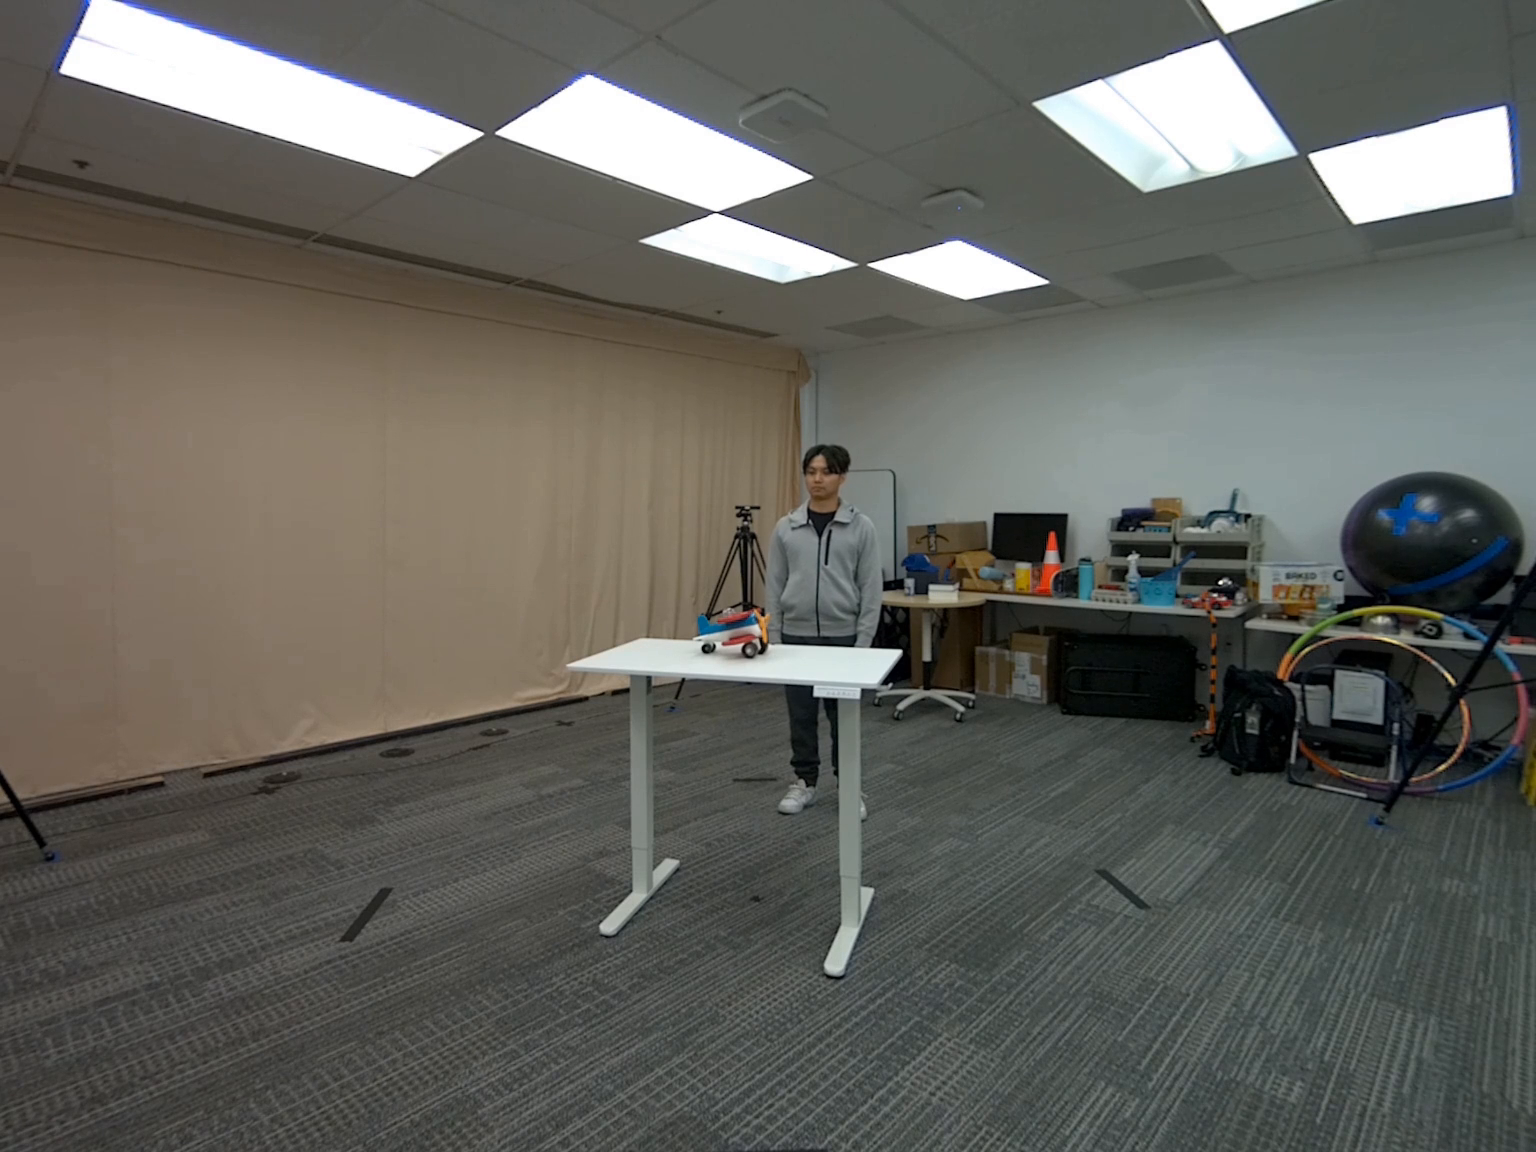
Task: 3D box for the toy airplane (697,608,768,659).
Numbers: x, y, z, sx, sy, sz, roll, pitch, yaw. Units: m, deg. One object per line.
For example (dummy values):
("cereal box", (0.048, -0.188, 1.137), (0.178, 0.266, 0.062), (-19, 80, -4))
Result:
("toy airplane", (-0.118, 0.195, 2.875), (0.258, 0.156, 0.252), (0, 3, -4))
